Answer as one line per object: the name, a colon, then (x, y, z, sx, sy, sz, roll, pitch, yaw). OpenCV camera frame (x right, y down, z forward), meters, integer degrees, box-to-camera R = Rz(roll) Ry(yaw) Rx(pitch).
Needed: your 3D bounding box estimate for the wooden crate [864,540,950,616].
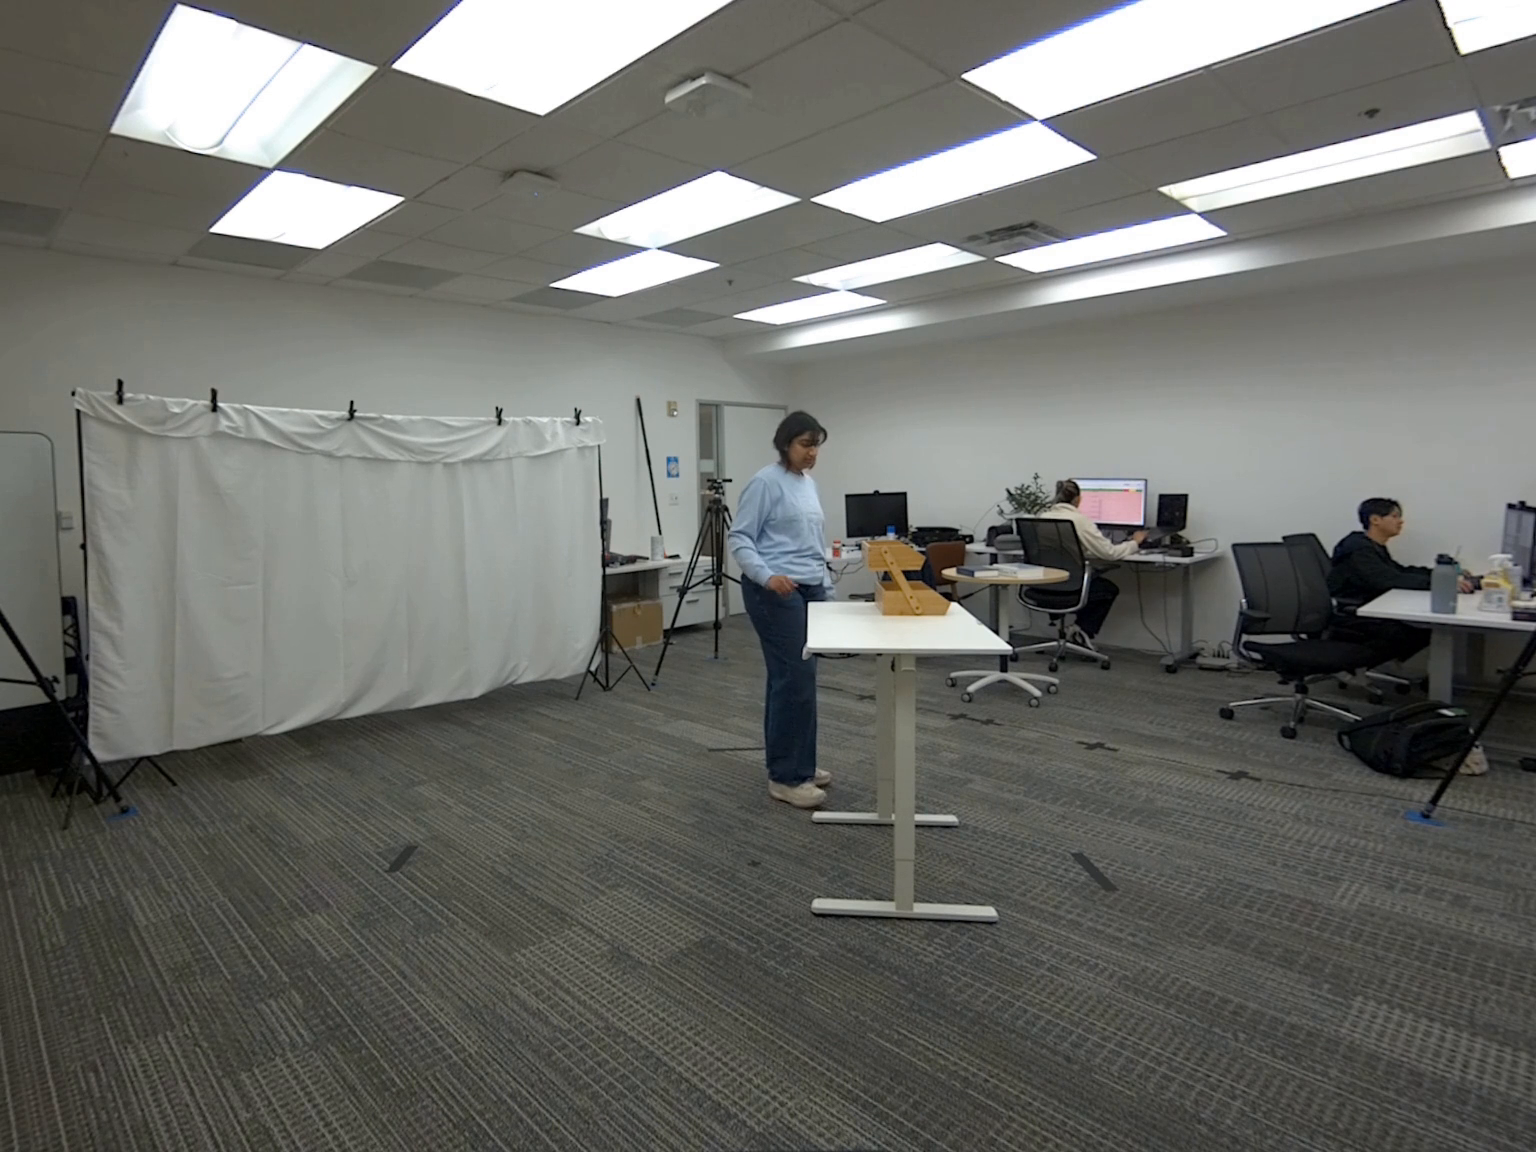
wooden crate: (0.537, -0.001, 3.318, 0.303, 0.272, 0.325, -2, 6, 2)
